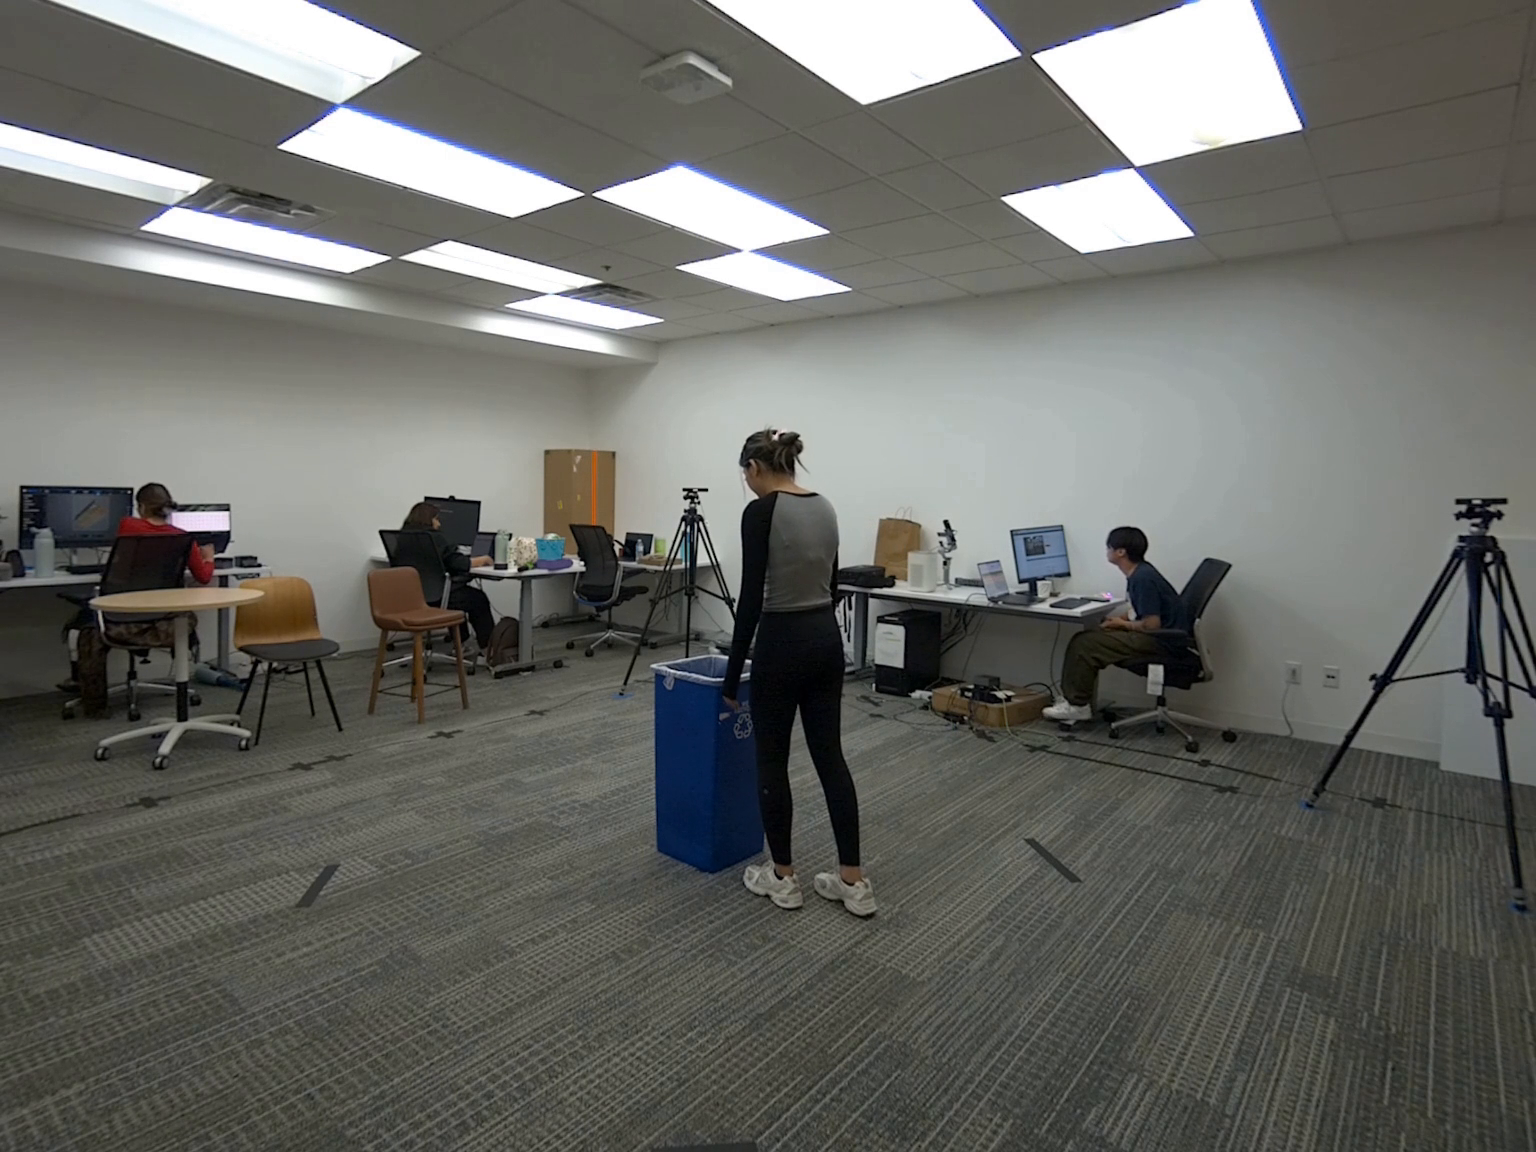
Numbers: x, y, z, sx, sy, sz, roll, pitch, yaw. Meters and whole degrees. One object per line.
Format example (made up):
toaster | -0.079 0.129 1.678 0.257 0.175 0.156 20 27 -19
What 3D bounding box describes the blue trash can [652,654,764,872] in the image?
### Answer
blue trash can | -0.224 0.697 3.268 0.391 0.711 0.363 4 4 40
